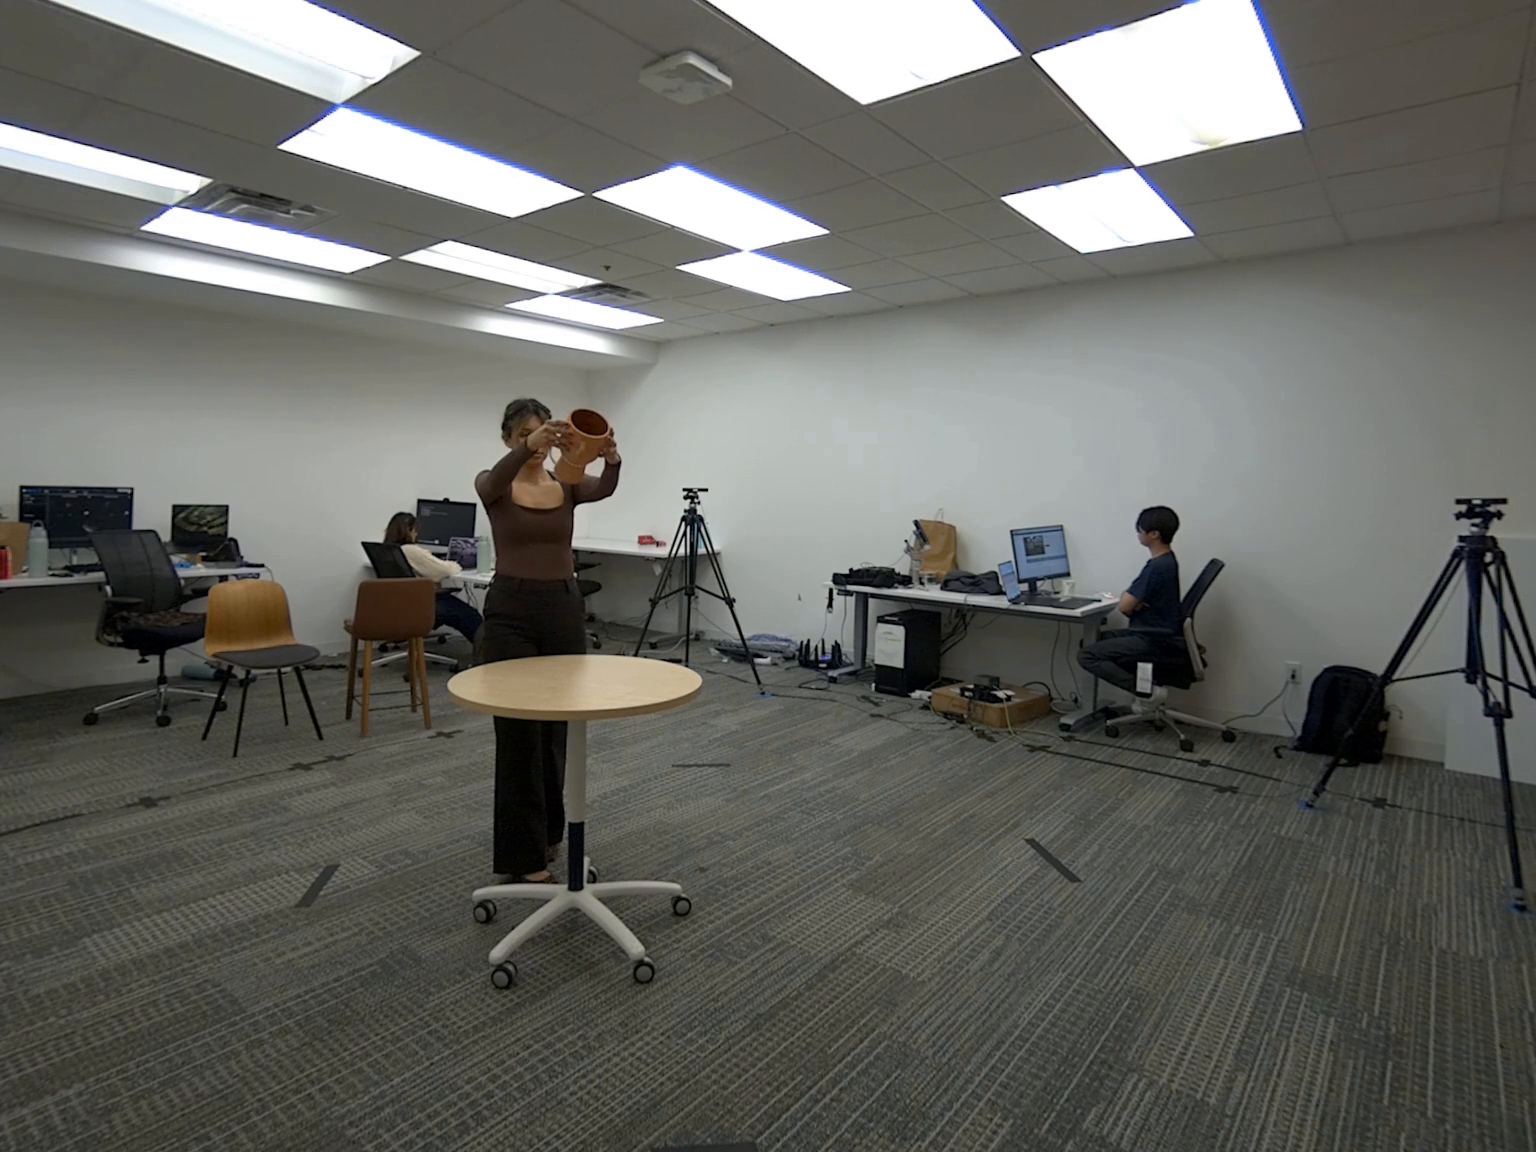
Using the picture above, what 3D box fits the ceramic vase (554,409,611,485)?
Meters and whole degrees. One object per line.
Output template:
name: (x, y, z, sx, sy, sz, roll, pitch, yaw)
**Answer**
ceramic vase: (-0.594, -0.392, 2.618, 0.137, 0.218, 0.157, 44, 41, 12)
